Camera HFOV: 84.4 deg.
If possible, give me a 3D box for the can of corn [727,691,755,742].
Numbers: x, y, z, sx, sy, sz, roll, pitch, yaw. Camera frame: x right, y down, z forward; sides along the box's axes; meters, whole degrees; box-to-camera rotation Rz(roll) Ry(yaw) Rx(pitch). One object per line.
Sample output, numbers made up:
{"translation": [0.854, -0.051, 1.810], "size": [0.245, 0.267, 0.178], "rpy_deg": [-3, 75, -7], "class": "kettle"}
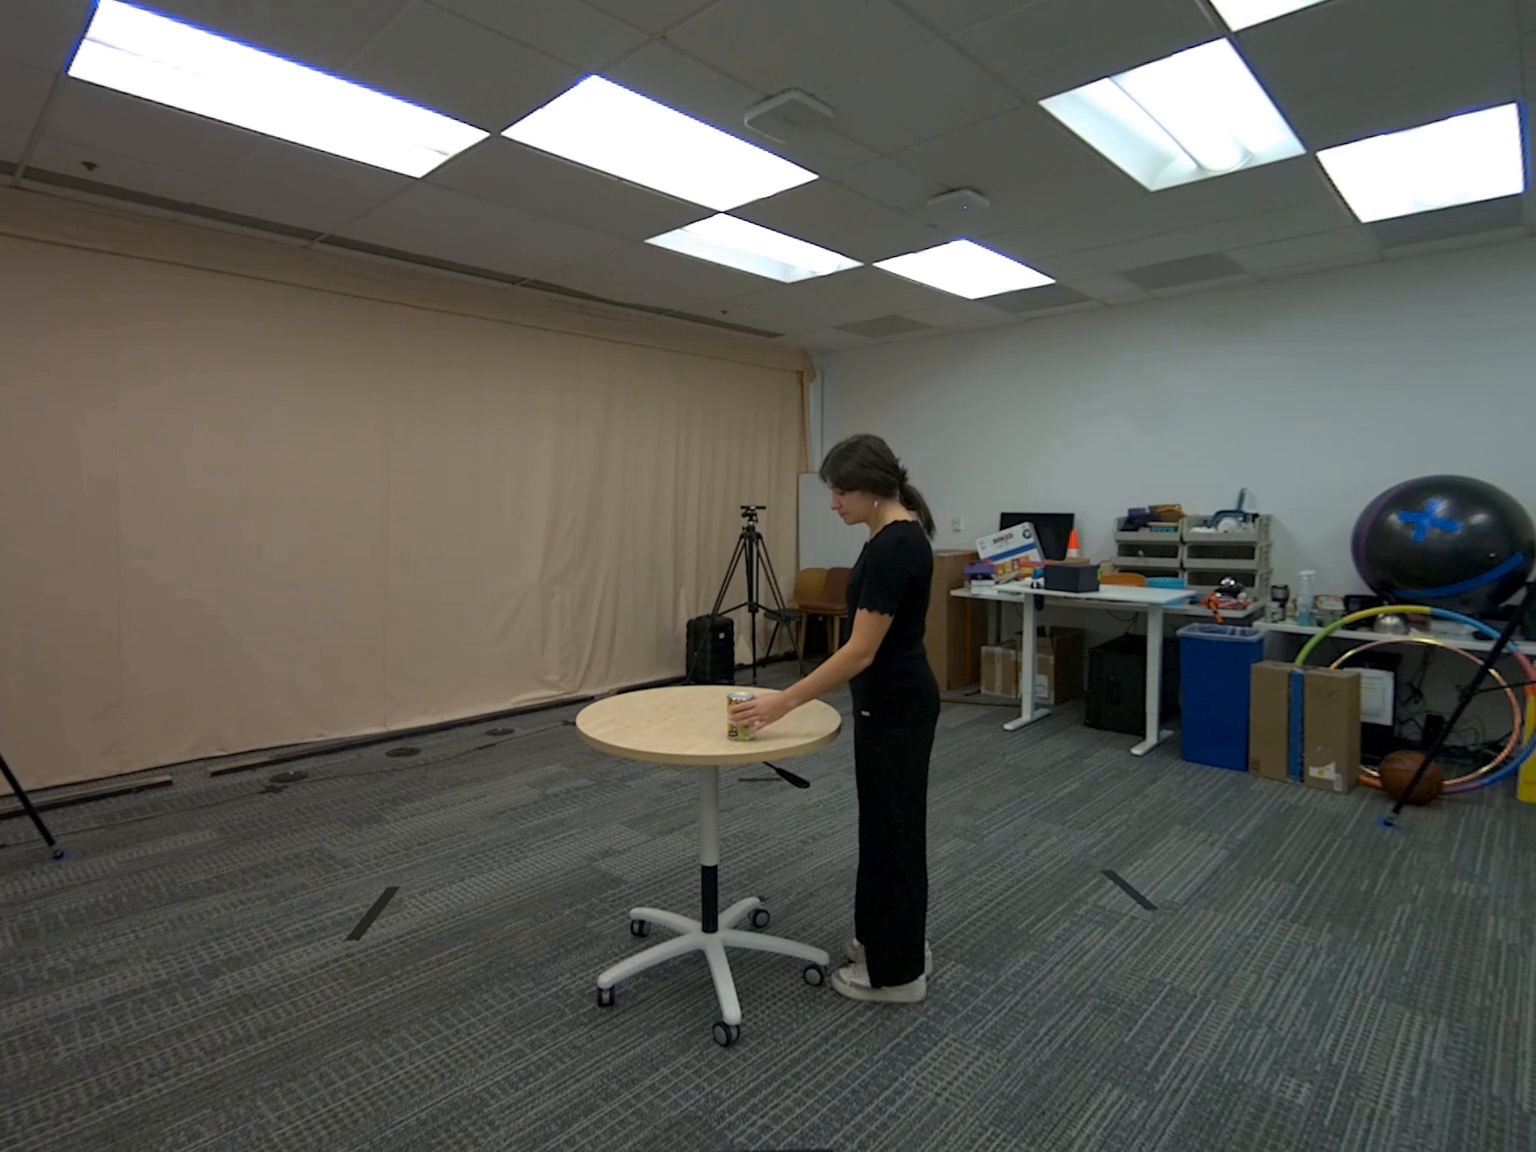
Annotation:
{"translation": [-0.066, 0.372, 2.226], "size": [0.074, 0.111, 0.074], "rpy_deg": [0, 4, -2], "class": "can of corn"}
